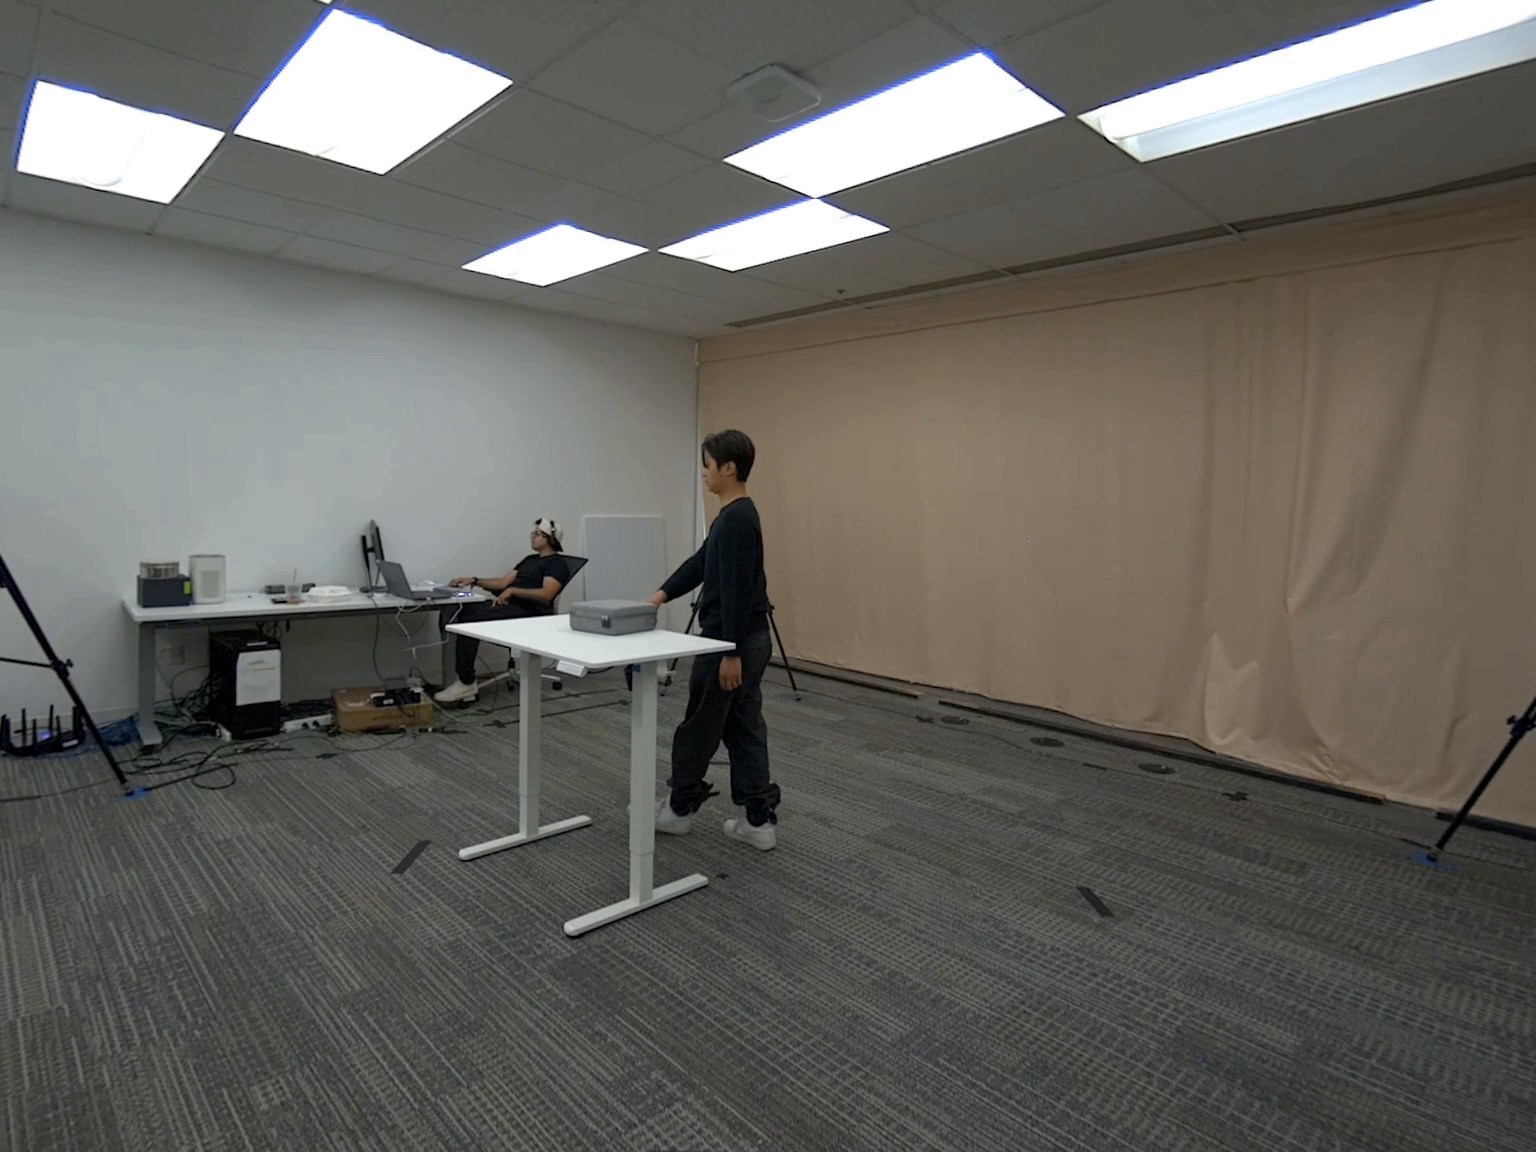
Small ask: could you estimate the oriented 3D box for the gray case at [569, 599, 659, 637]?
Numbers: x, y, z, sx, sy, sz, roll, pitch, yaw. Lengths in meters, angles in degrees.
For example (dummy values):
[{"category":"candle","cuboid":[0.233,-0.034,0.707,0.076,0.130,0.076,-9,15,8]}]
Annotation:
[{"category":"gray case","cuboid":[-0.596,0.153,3.209,0.263,0.104,0.255,3,4,35]}]
